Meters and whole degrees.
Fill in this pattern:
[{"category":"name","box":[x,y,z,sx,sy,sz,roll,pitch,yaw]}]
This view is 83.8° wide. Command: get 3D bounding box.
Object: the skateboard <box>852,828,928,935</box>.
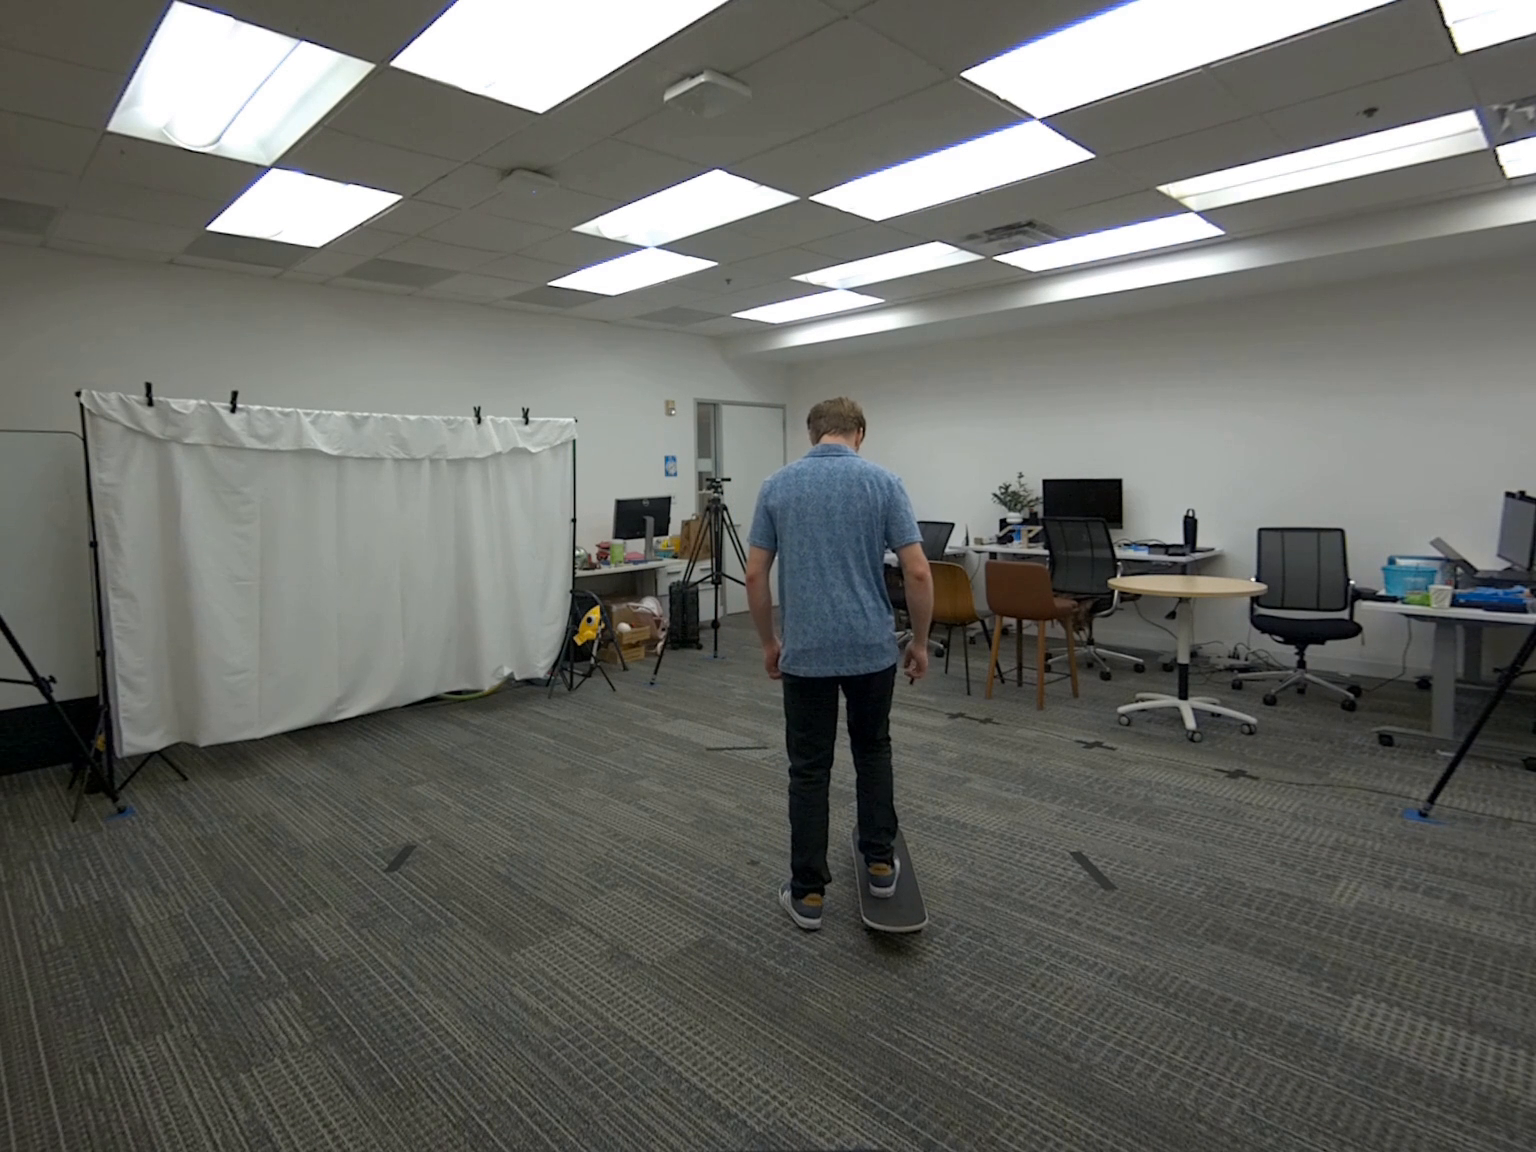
[{"category":"skateboard","box":[0.389,1.005,2.832,0.194,0.110,0.786,-3,7,3]}]
